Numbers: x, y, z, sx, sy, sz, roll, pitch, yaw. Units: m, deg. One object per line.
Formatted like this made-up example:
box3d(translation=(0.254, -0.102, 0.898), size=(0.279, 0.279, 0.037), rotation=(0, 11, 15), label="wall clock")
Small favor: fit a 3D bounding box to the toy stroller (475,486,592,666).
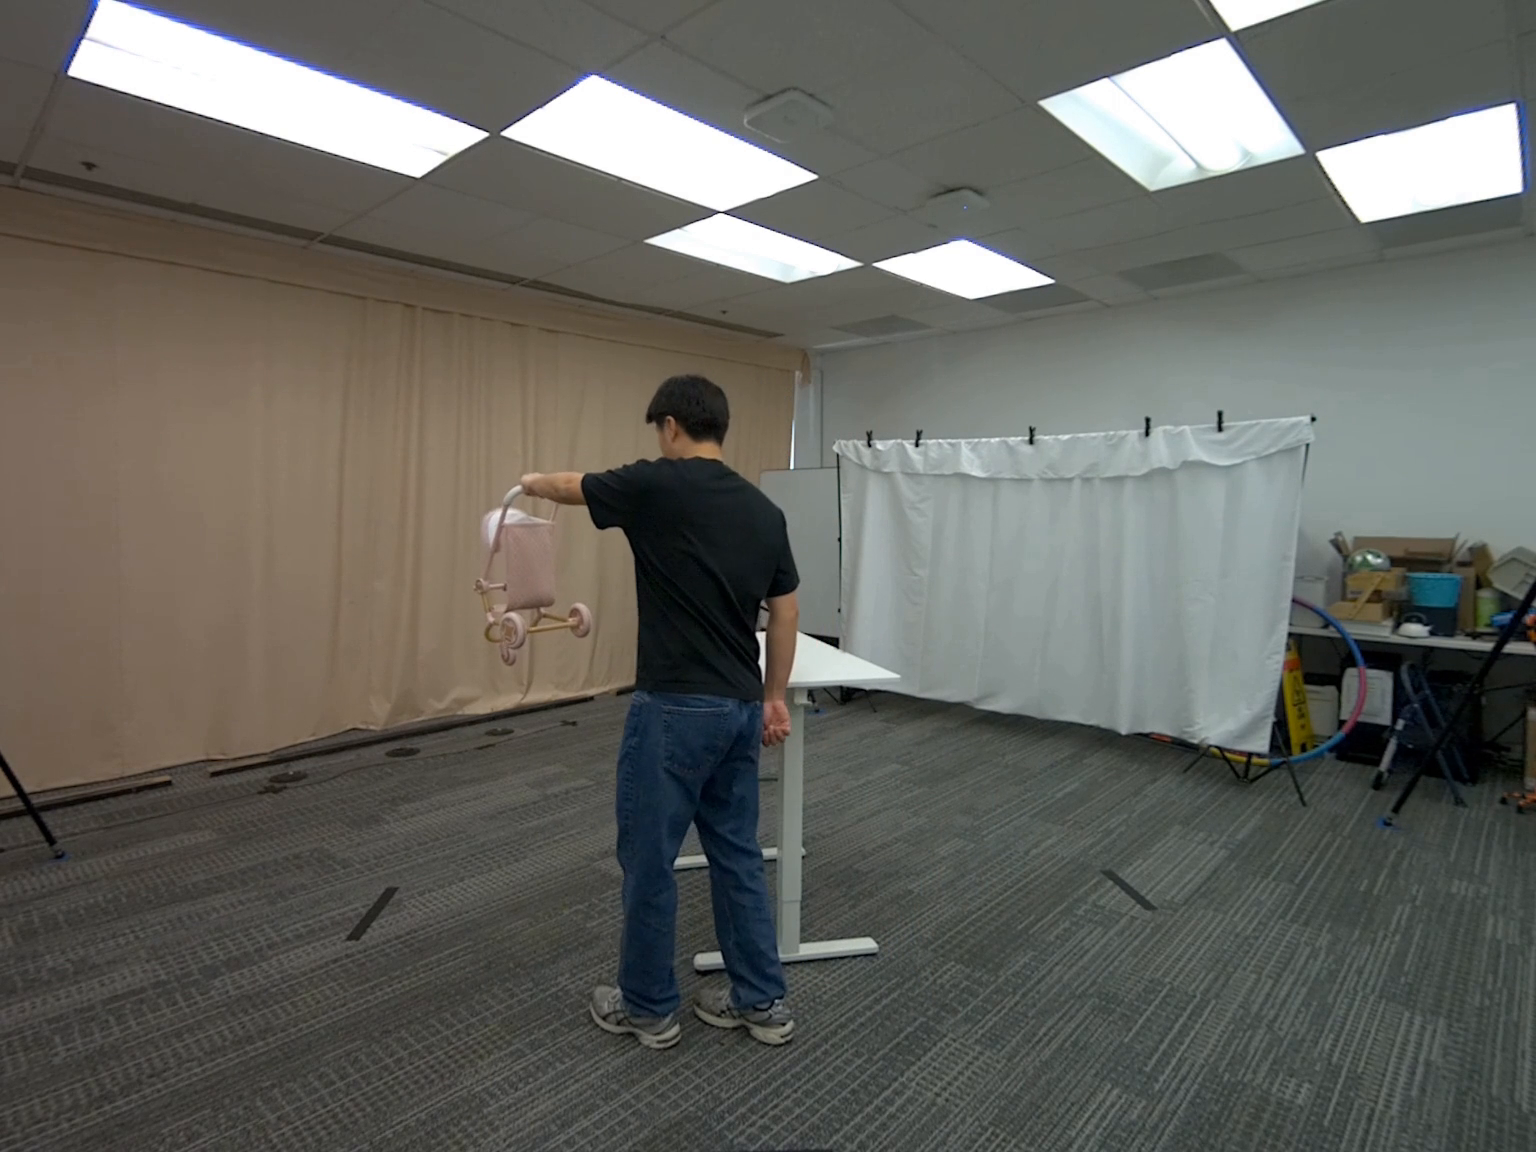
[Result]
box3d(translation=(-0.774, 0.011, 2.642), size=(0.351, 0.536, 0.273), rotation=(-11, -3, 45), label="toy stroller")
